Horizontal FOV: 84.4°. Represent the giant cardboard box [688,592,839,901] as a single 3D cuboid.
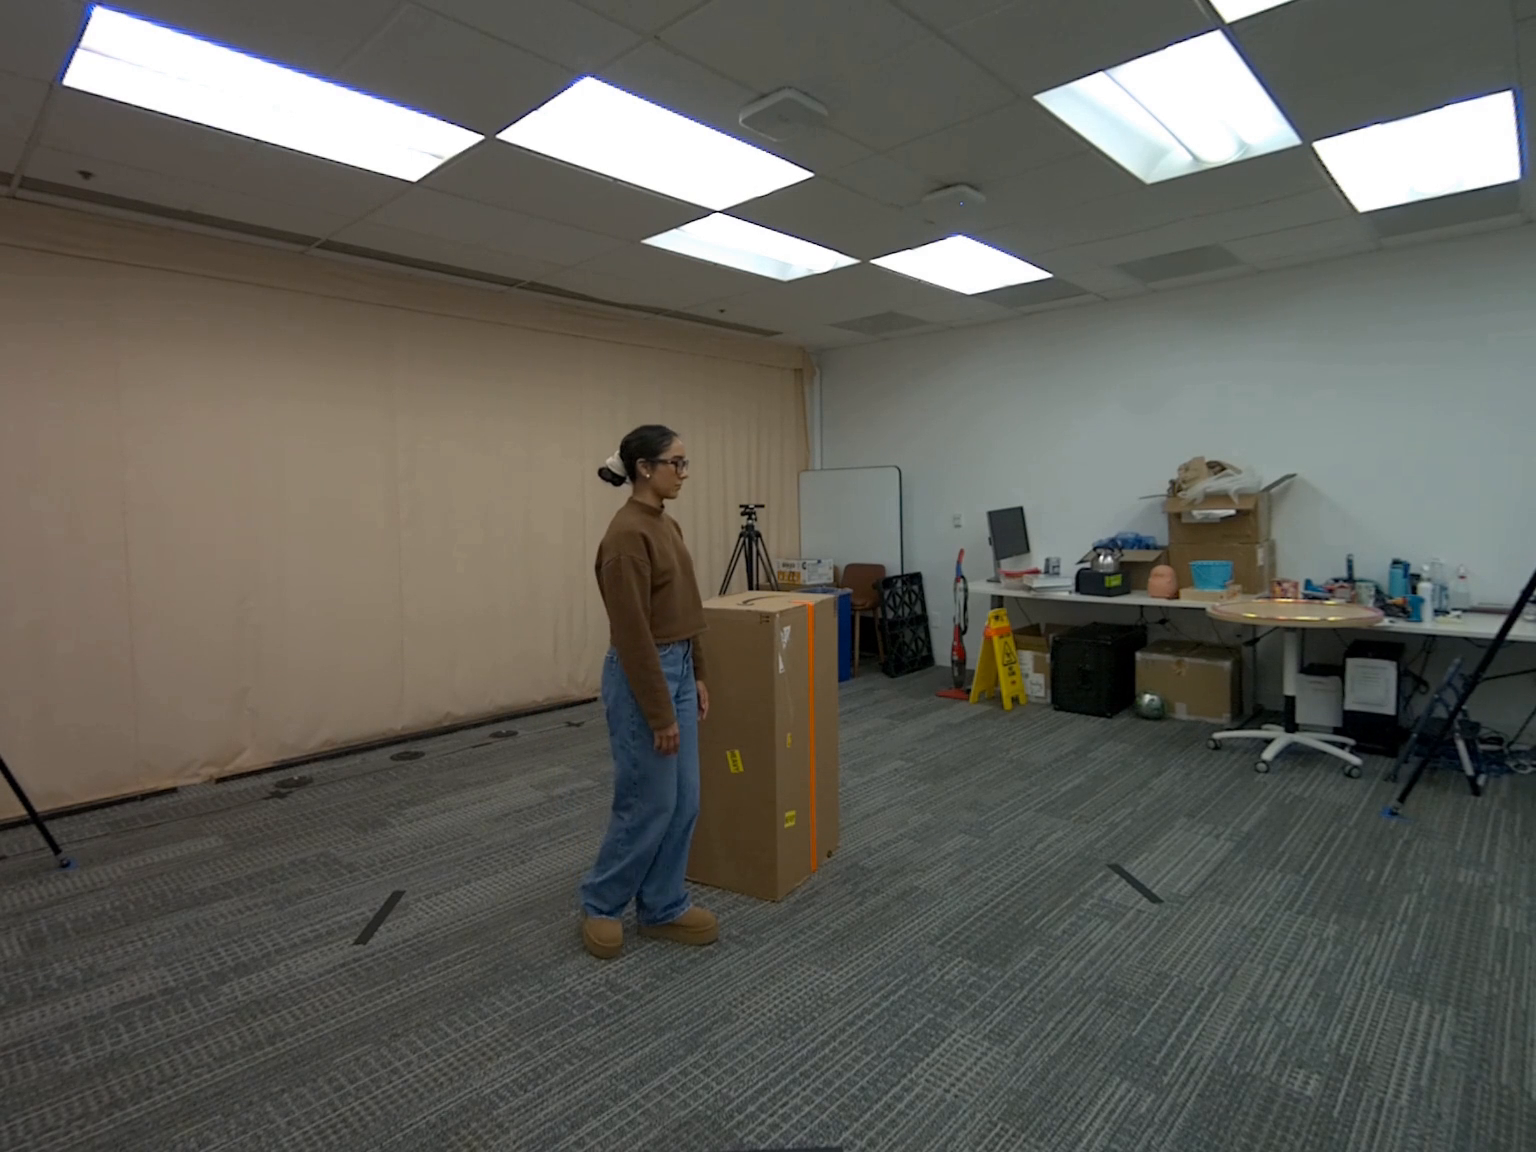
[{"bbox_3d":[-0.021,0.605,3.270,0.438,1.023,0.563,1,4,29],"label":"giant cardboard box"}]
